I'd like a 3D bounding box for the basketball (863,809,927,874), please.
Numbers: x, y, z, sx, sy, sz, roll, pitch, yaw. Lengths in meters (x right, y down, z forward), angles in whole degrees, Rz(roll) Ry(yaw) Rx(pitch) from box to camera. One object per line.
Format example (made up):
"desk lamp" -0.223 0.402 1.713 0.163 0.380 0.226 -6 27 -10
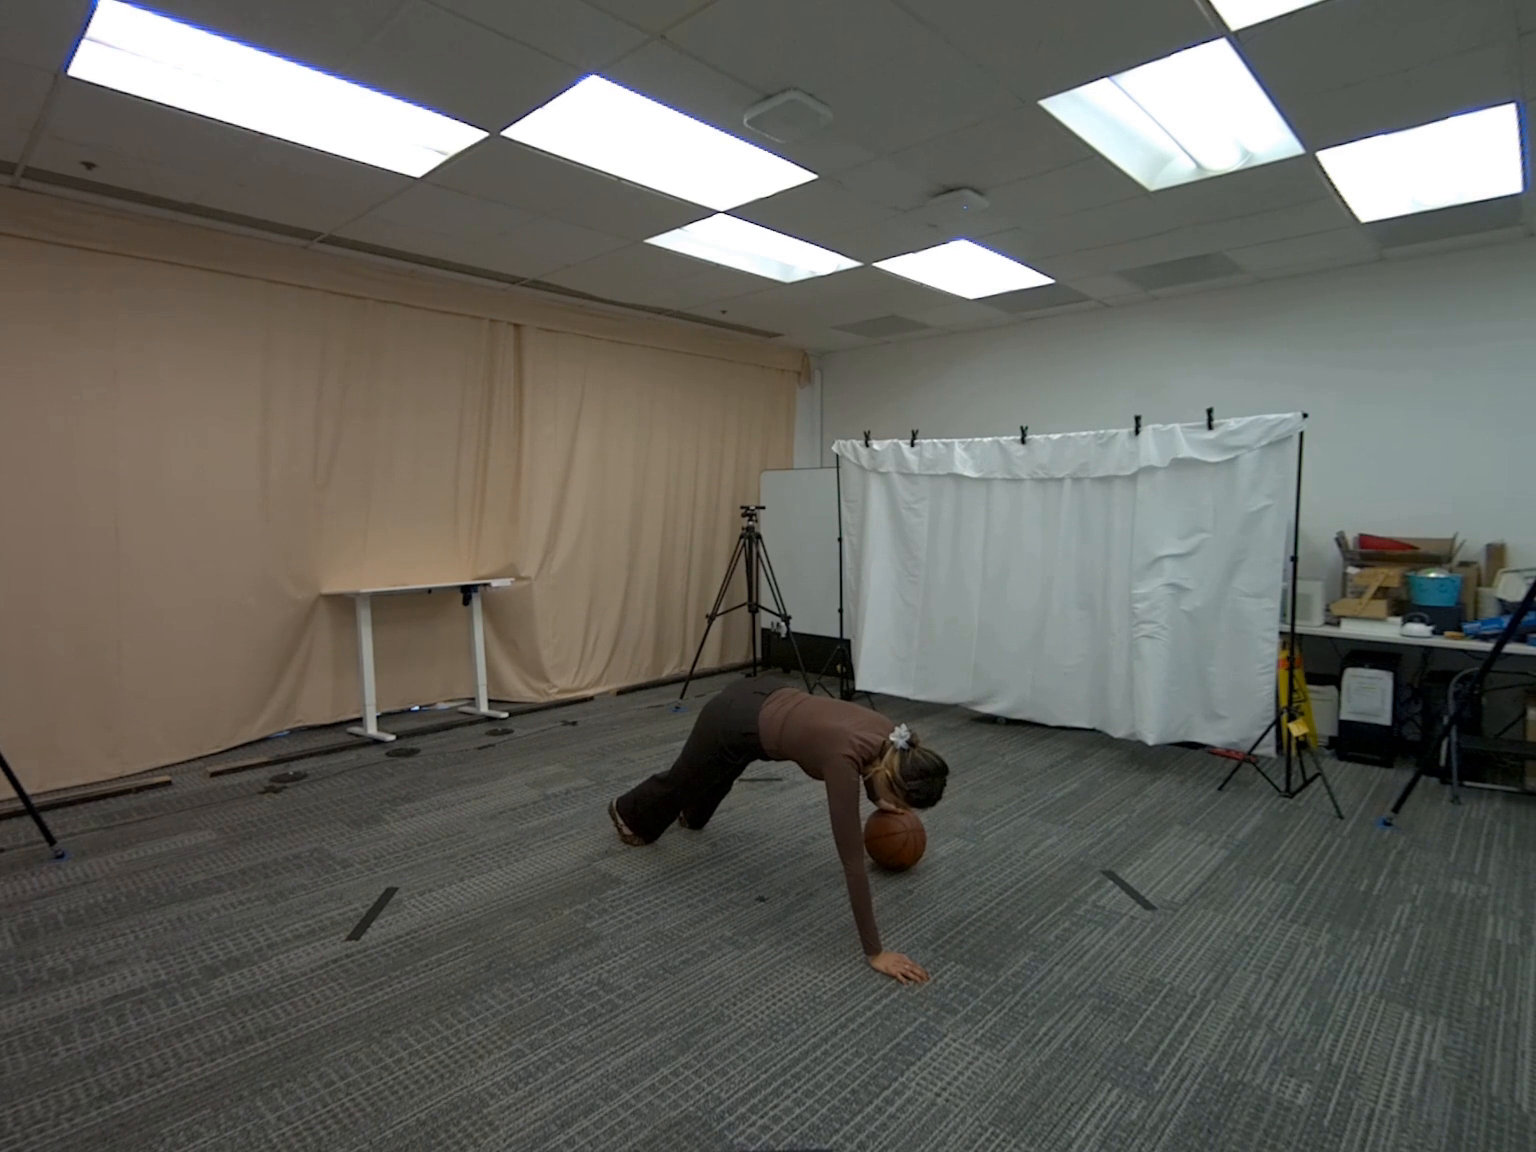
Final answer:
"basketball" 0.483 1.008 3.225 0.236 0.235 0.237 0 4 -2
